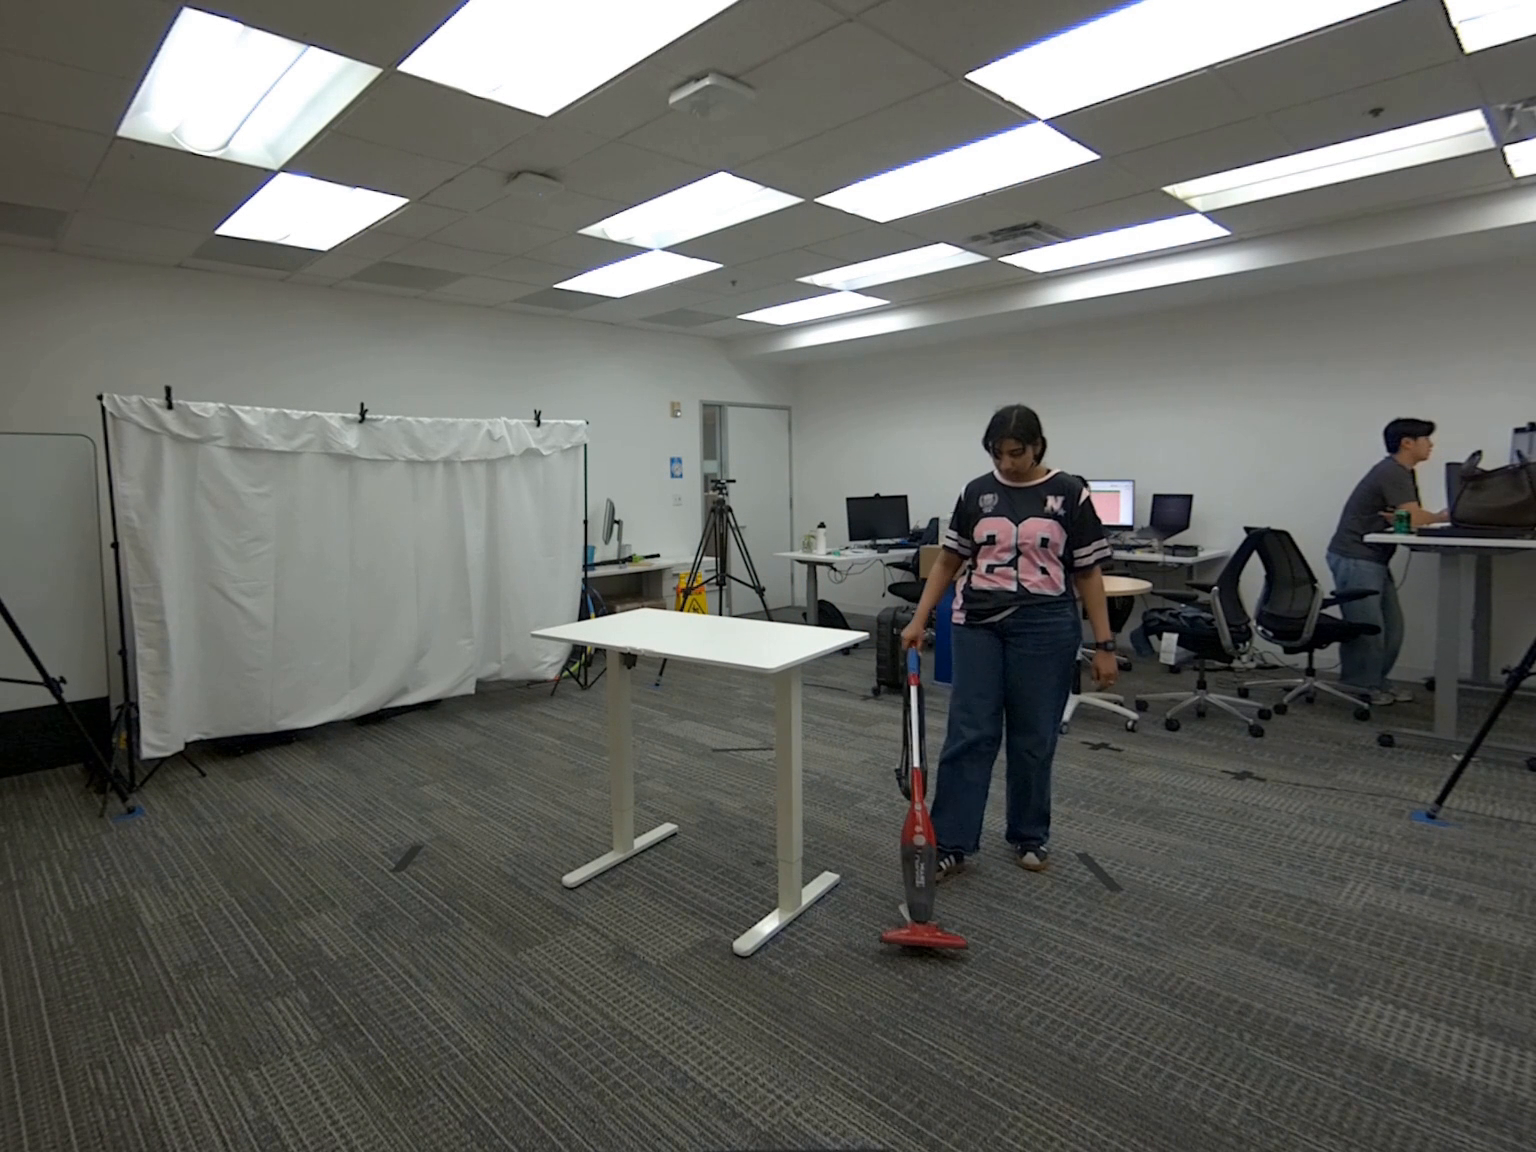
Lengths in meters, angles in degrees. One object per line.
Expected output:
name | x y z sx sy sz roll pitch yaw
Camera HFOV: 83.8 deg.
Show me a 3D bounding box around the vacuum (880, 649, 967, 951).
vacuum | 0.500 0.663 2.828 0.255 1.073 0.139 -2 -37 10
